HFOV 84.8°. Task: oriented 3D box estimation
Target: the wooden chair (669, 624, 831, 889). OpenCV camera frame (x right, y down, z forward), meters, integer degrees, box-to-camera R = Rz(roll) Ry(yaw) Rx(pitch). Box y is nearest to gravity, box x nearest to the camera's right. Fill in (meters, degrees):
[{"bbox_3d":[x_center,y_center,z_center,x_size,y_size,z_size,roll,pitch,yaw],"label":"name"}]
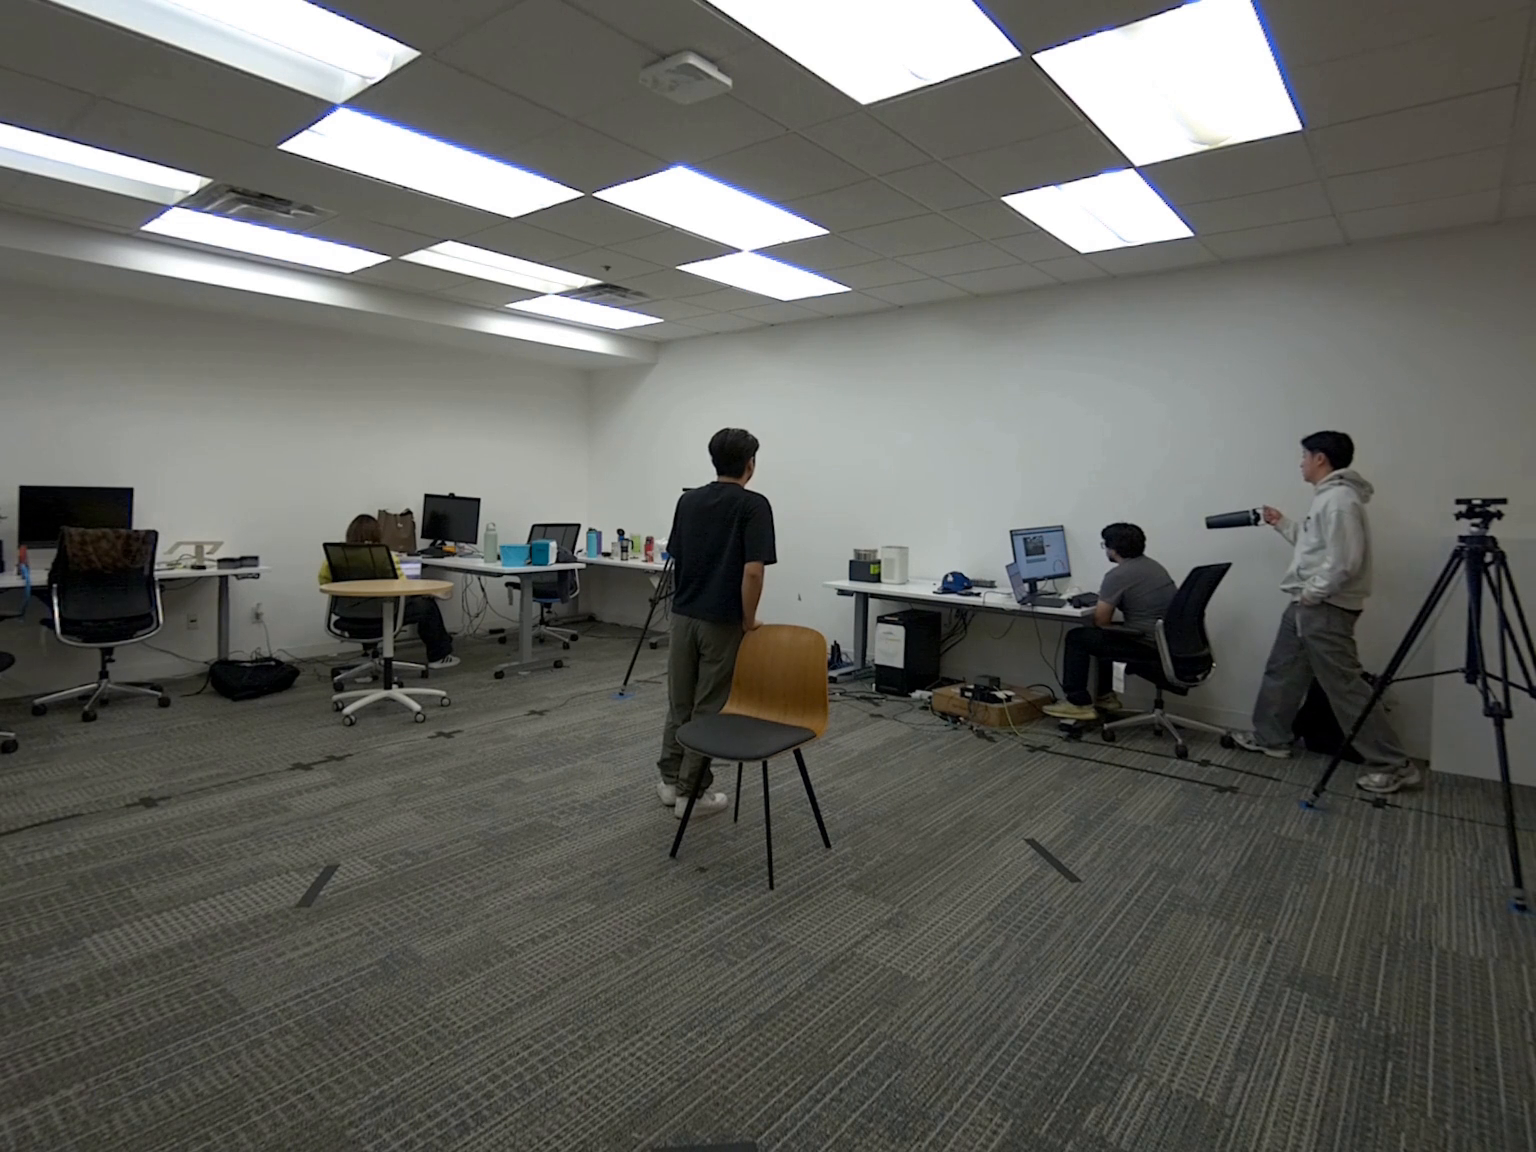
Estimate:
[{"bbox_3d":[-0.060,0.634,3.229,0.493,0.878,0.507,3,0,33],"label":"wooden chair"}]
